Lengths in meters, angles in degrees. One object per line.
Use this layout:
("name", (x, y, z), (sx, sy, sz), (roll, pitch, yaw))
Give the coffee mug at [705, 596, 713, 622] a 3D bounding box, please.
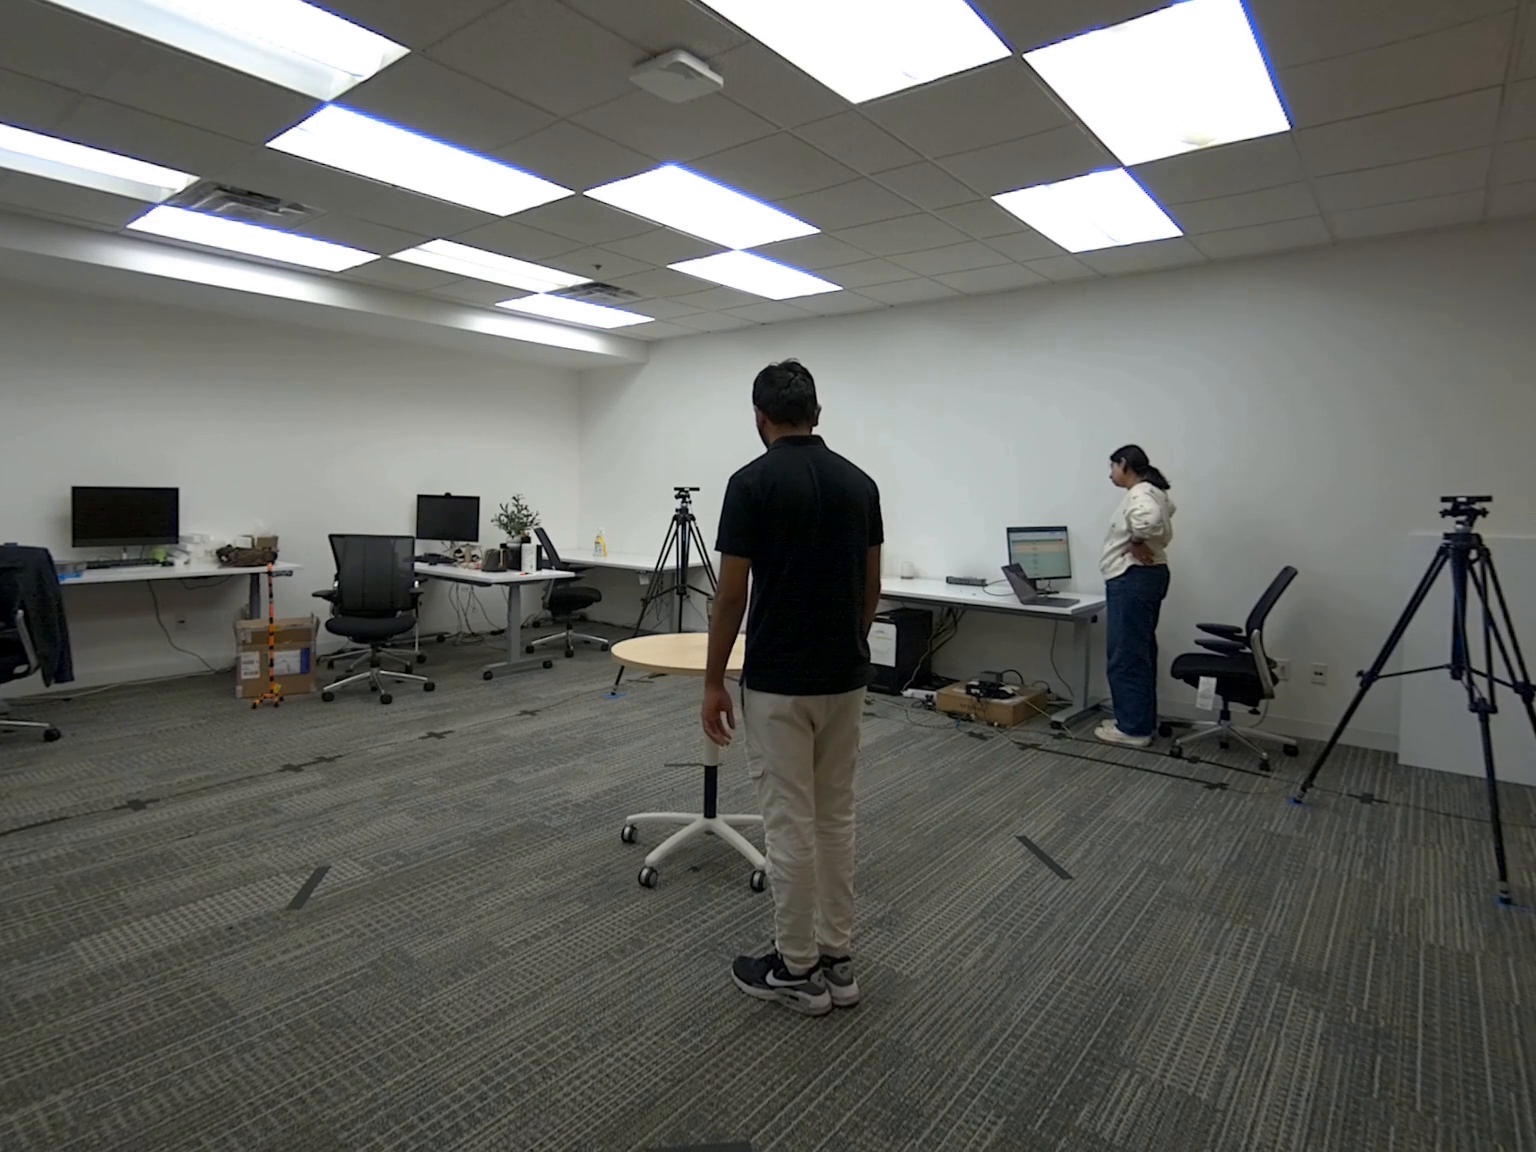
("coffee mug", (-0.182, 0.177, 3.191), (0.126, 0.203, 0.085), (2, -3, 32))
